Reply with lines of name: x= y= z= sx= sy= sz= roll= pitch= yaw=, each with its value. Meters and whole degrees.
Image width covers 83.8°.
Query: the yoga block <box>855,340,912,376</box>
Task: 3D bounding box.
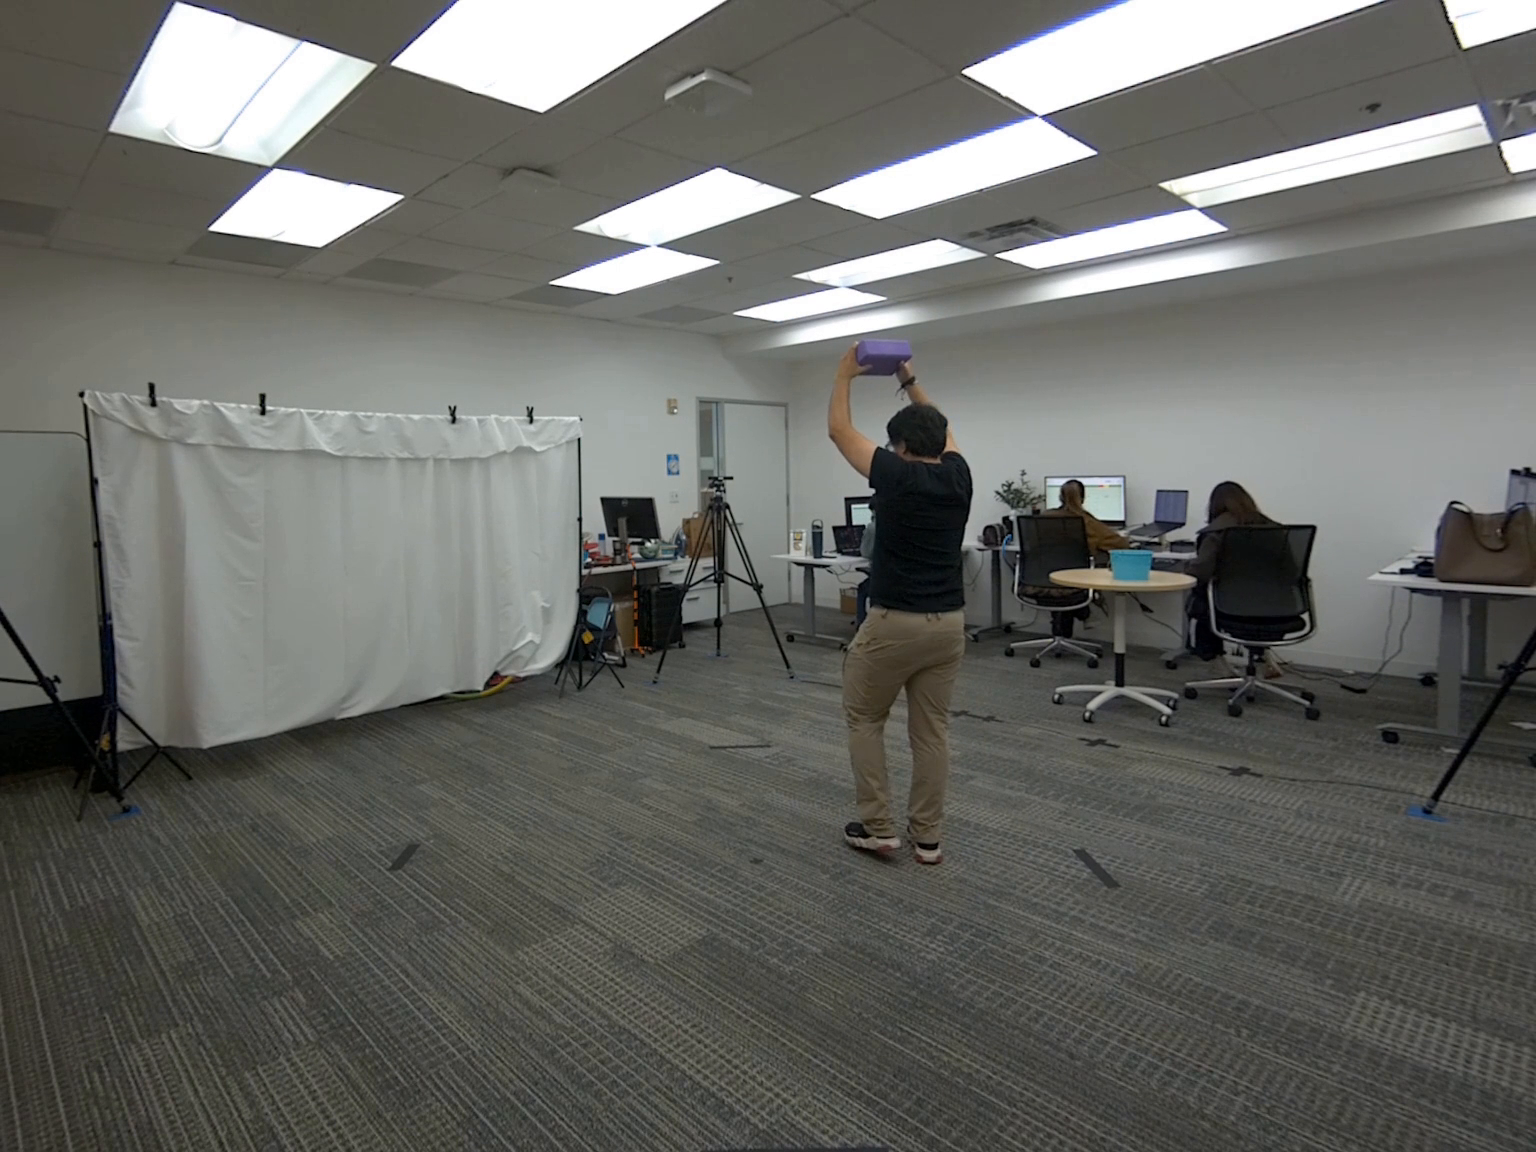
yoga block: x=0.430 y=-0.849 z=3.318 sx=0.224 sy=0.078 sz=0.150 roll=-7 pitch=-17 yaw=-31
